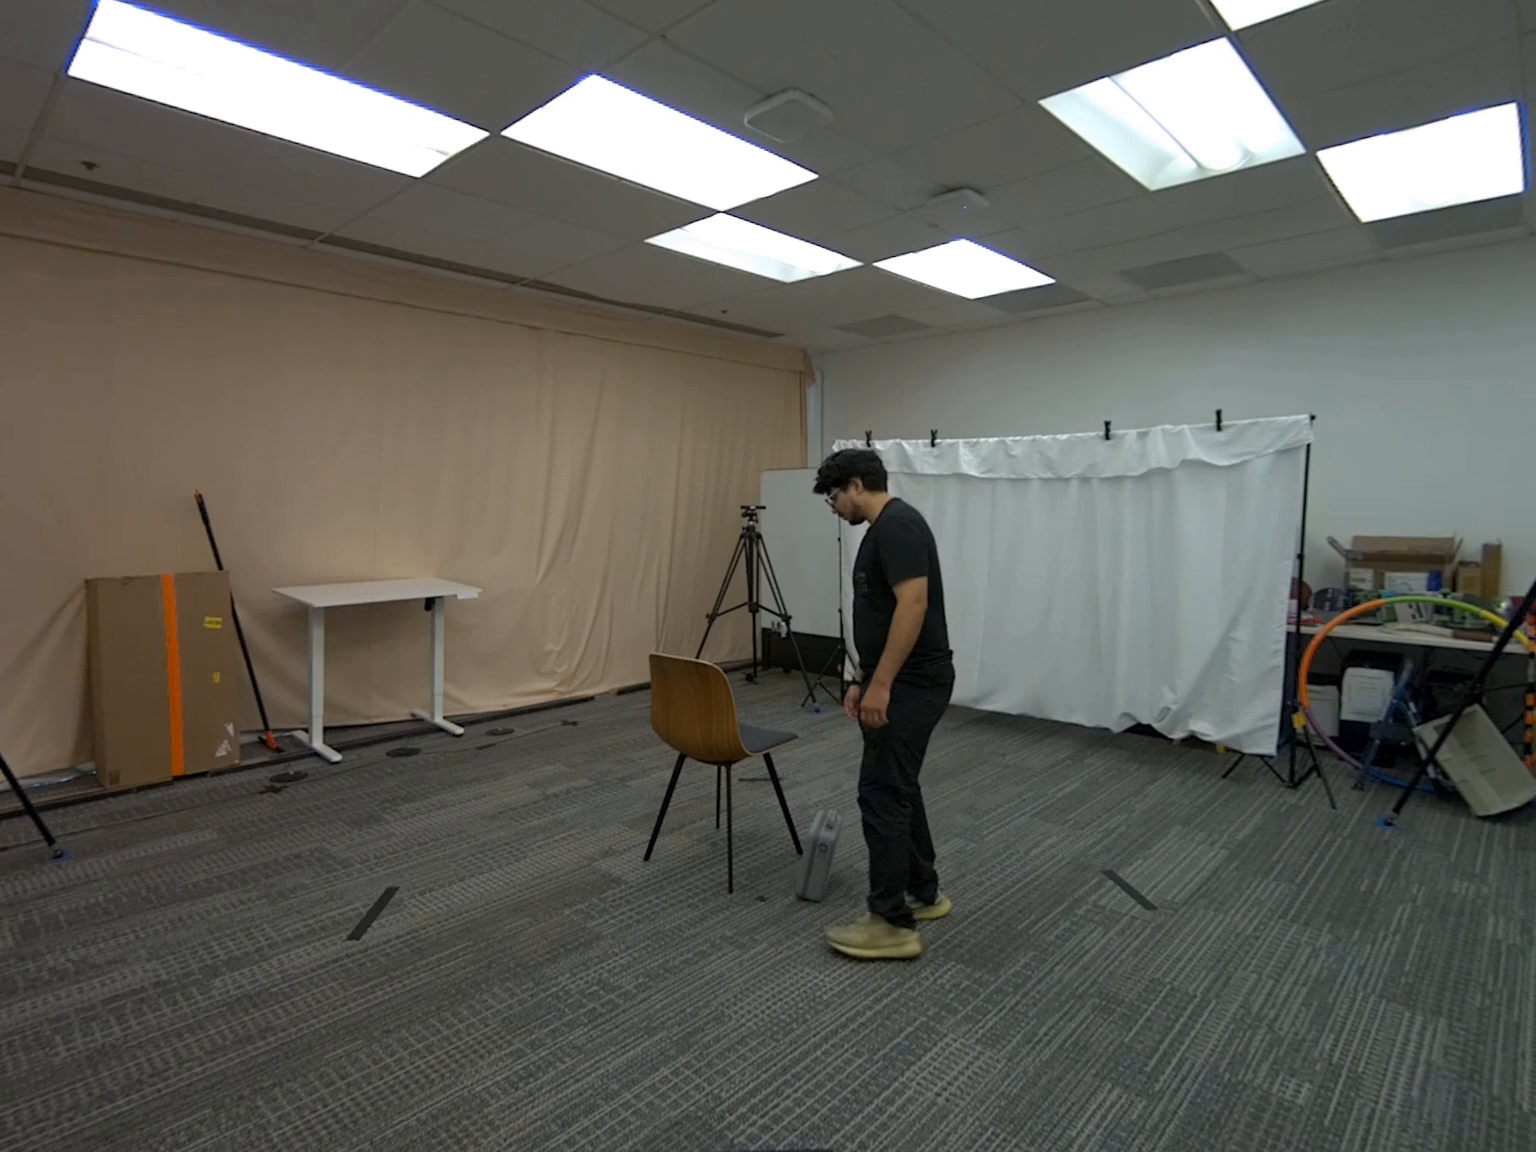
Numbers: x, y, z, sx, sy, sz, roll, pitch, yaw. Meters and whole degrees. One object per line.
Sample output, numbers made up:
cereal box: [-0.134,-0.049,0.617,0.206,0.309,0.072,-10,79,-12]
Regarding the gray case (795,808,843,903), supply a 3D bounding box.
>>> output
gray case: [0.187,1.003,3.056,0.106,0.260,0.253,13,8,12]
